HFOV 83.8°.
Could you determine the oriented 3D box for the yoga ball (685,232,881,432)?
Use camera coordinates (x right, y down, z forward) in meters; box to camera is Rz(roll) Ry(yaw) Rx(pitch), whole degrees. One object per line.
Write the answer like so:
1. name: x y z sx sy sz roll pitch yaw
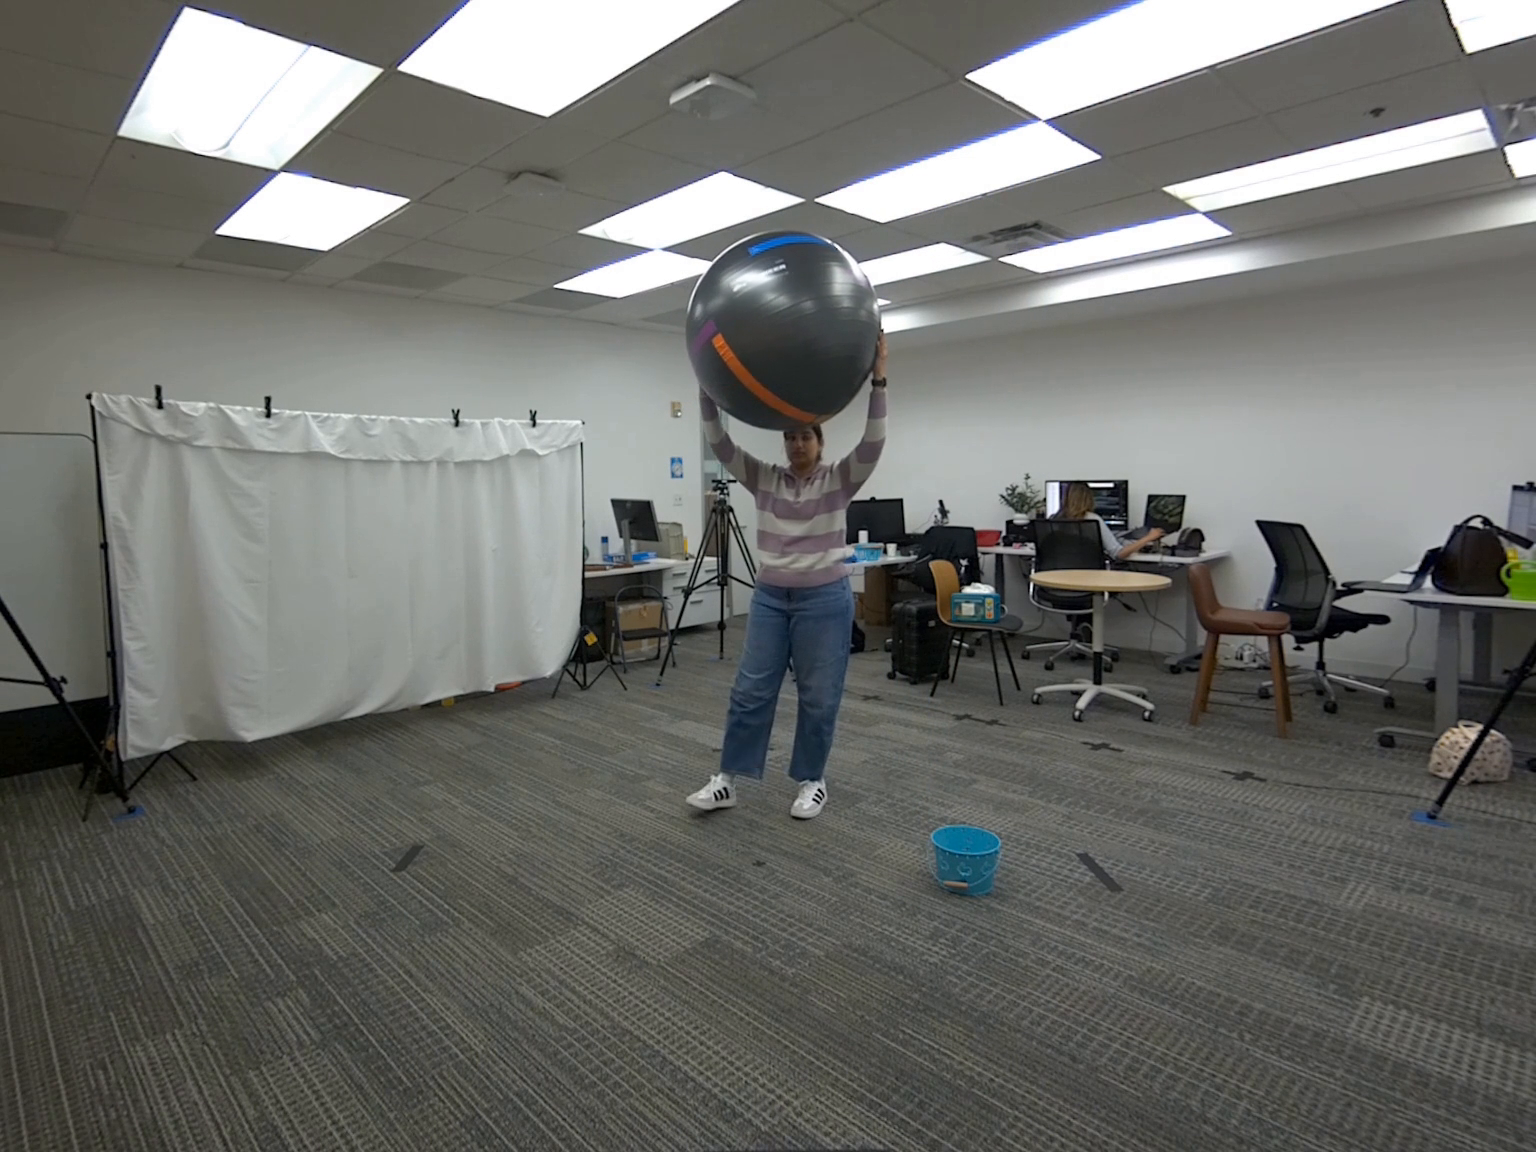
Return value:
1. yoga ball: 0.058 -0.944 3.326 0.757 0.755 0.762 -1 5 -2
